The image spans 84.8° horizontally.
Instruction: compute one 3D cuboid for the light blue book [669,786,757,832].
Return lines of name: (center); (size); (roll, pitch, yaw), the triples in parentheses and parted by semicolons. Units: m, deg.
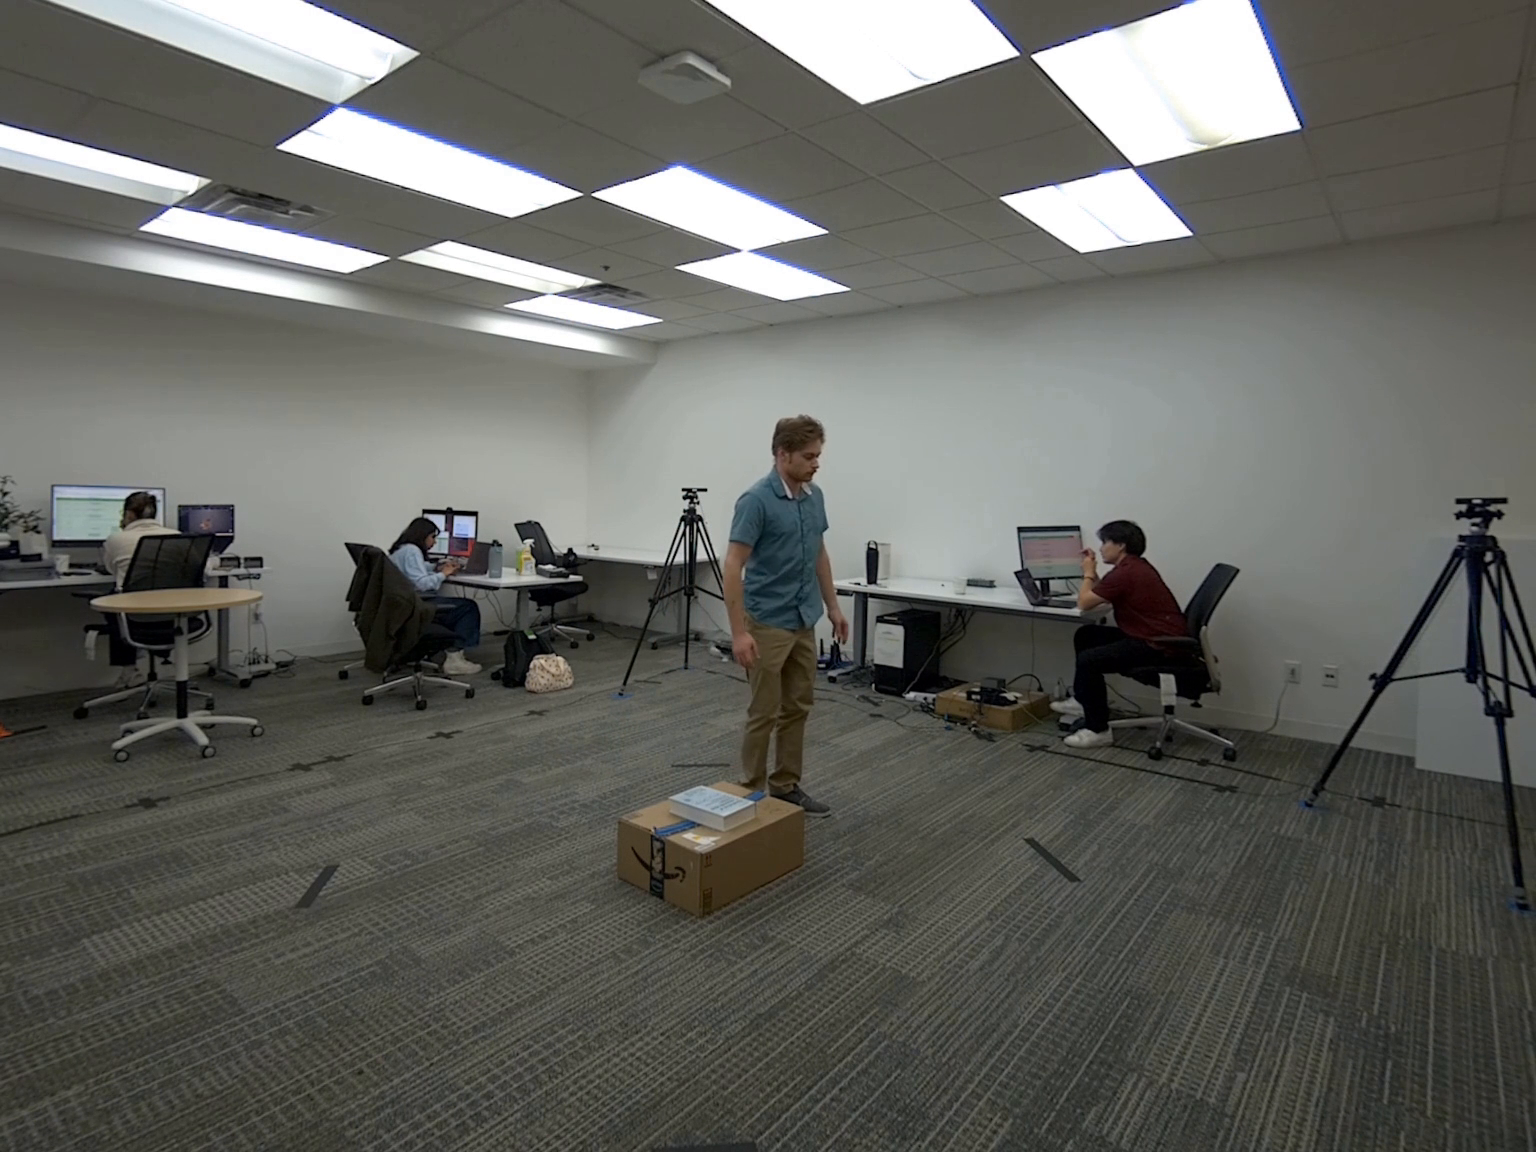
light blue book: (-0.209, 0.828, 3.077); (0.270, 0.059, 0.186); (5, 7, 38)
